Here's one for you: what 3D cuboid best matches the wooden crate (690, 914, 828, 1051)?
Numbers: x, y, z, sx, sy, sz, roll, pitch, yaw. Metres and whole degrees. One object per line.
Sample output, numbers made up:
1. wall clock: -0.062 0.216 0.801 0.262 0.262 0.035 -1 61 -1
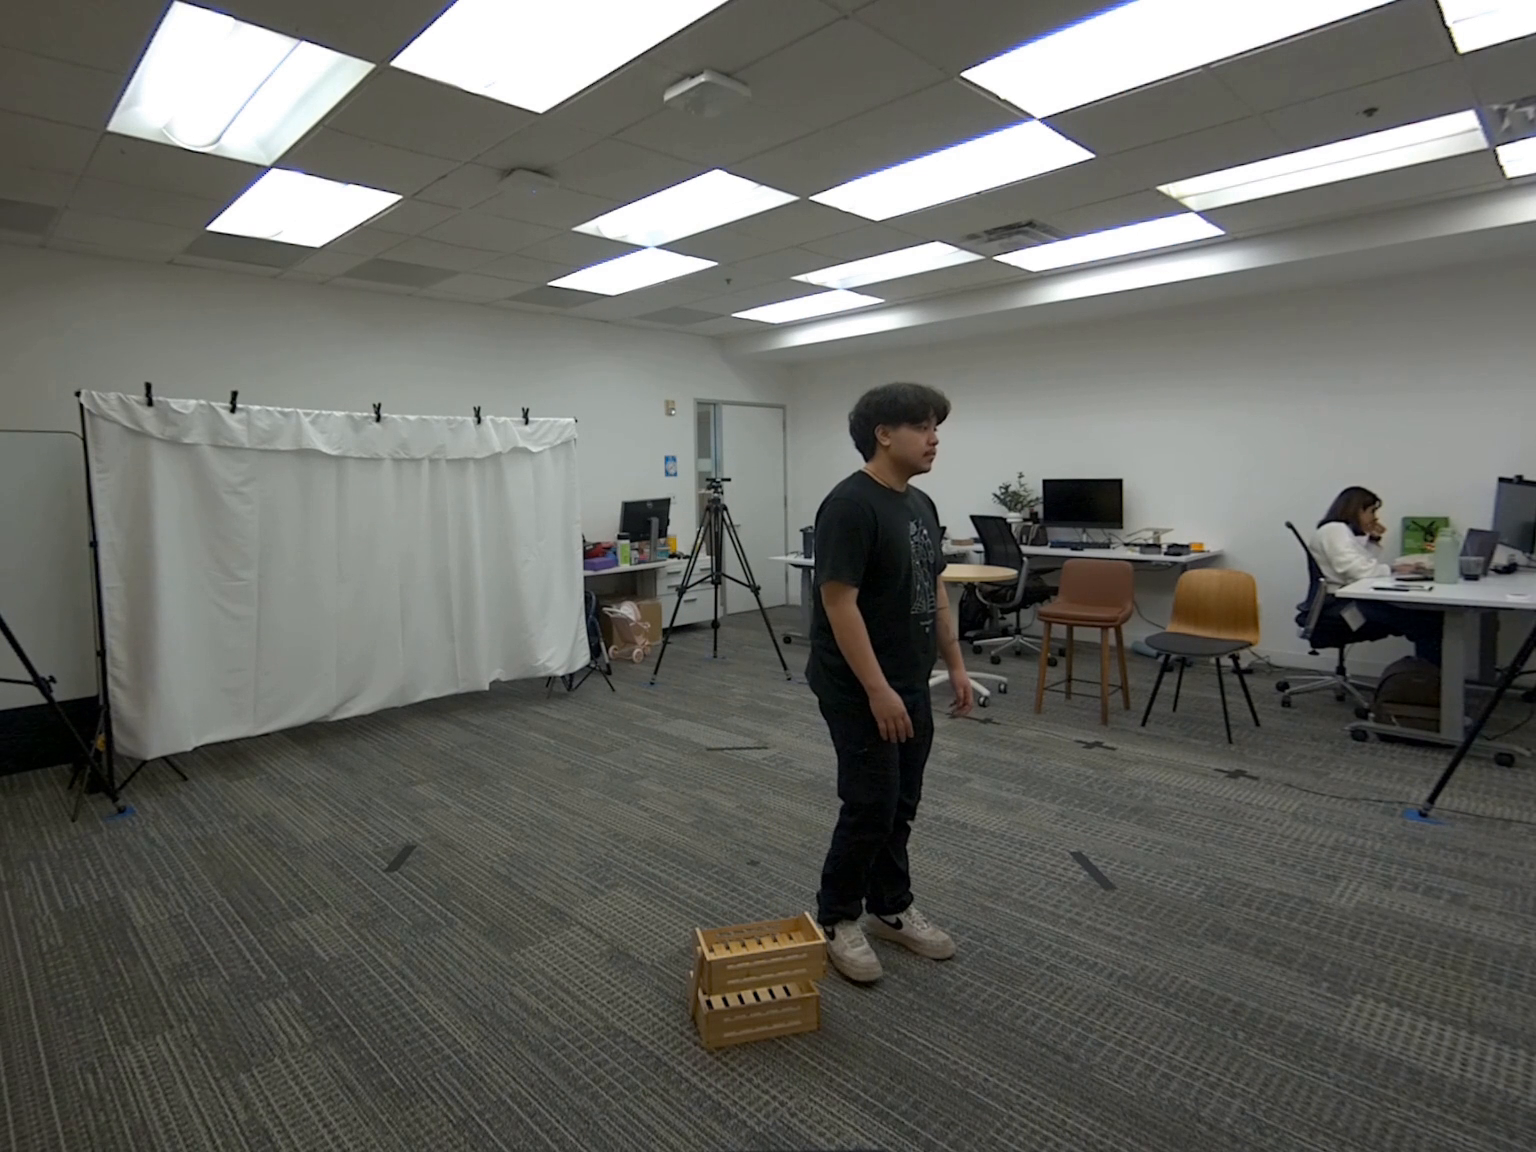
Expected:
1. wooden crate: -0.032 1.011 2.219 0.320 0.272 0.308 -3 6 -15
